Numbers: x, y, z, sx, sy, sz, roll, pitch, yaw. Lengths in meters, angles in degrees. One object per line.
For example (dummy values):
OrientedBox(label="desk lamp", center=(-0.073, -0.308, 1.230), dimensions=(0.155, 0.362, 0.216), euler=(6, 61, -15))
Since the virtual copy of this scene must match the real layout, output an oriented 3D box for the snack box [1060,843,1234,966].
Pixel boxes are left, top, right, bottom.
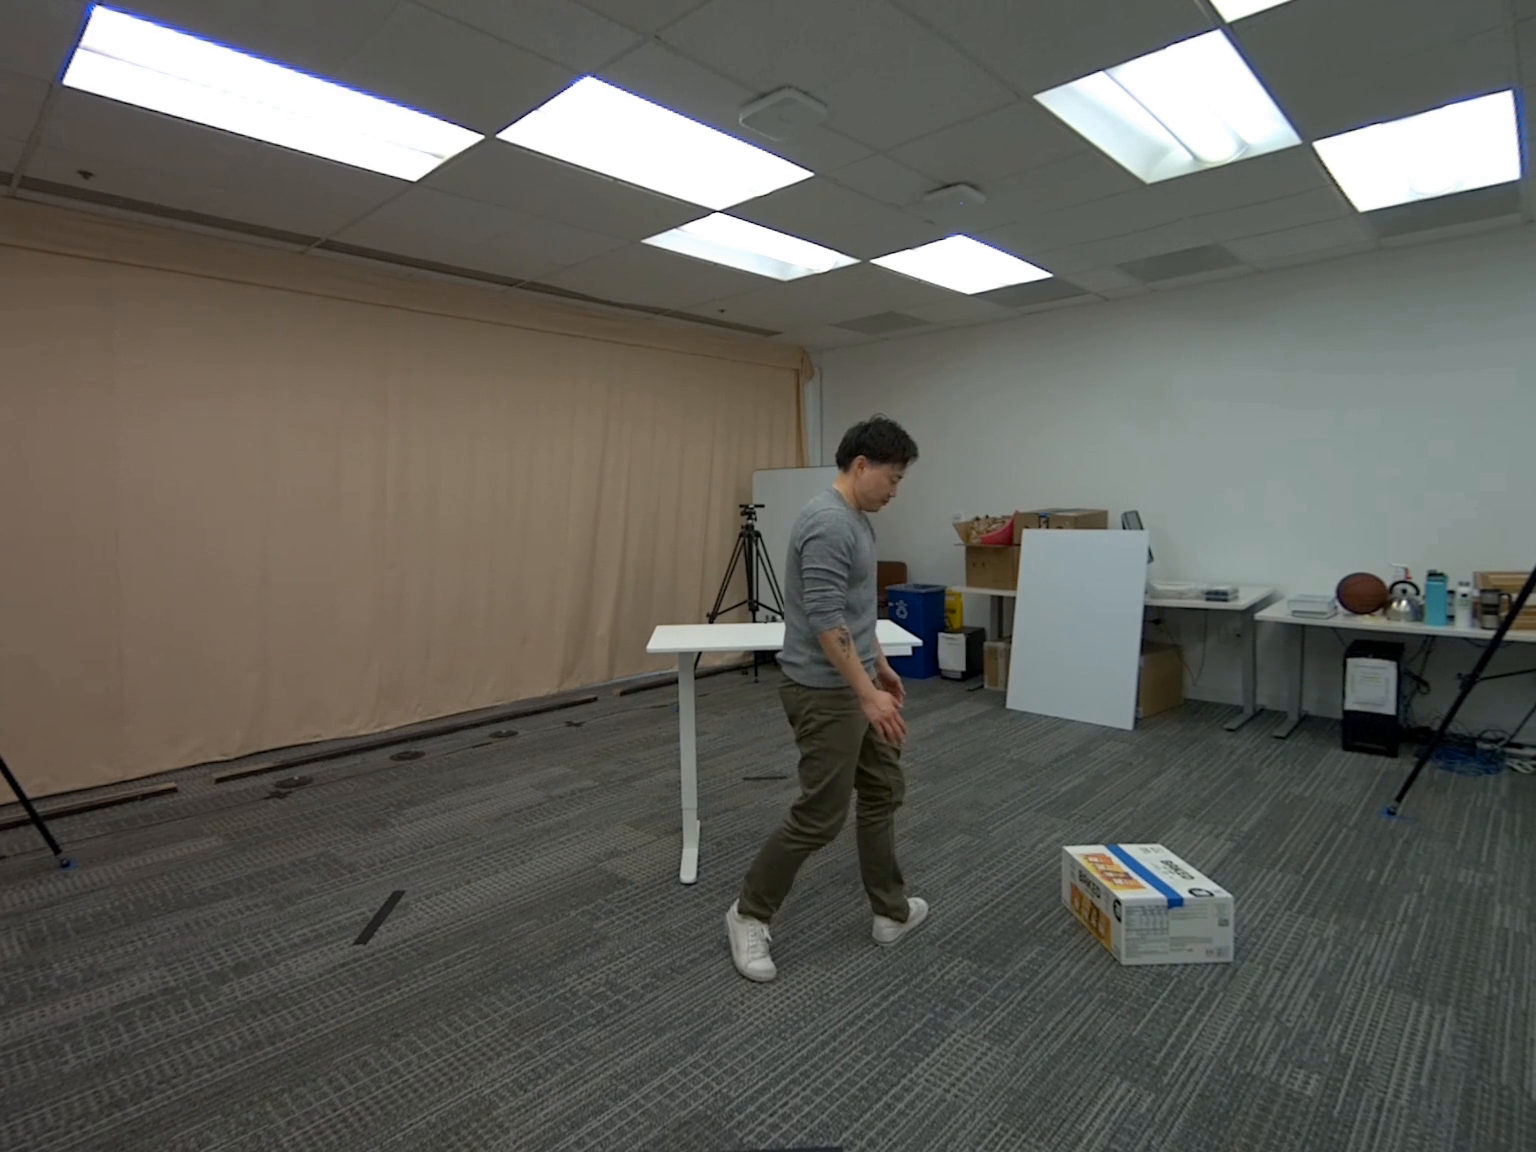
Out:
OrientedBox(label="snack box", center=(1.211, 1.045, 2.696), dimensions=(0.339, 0.205, 0.407), euler=(-1, 4, -4))
